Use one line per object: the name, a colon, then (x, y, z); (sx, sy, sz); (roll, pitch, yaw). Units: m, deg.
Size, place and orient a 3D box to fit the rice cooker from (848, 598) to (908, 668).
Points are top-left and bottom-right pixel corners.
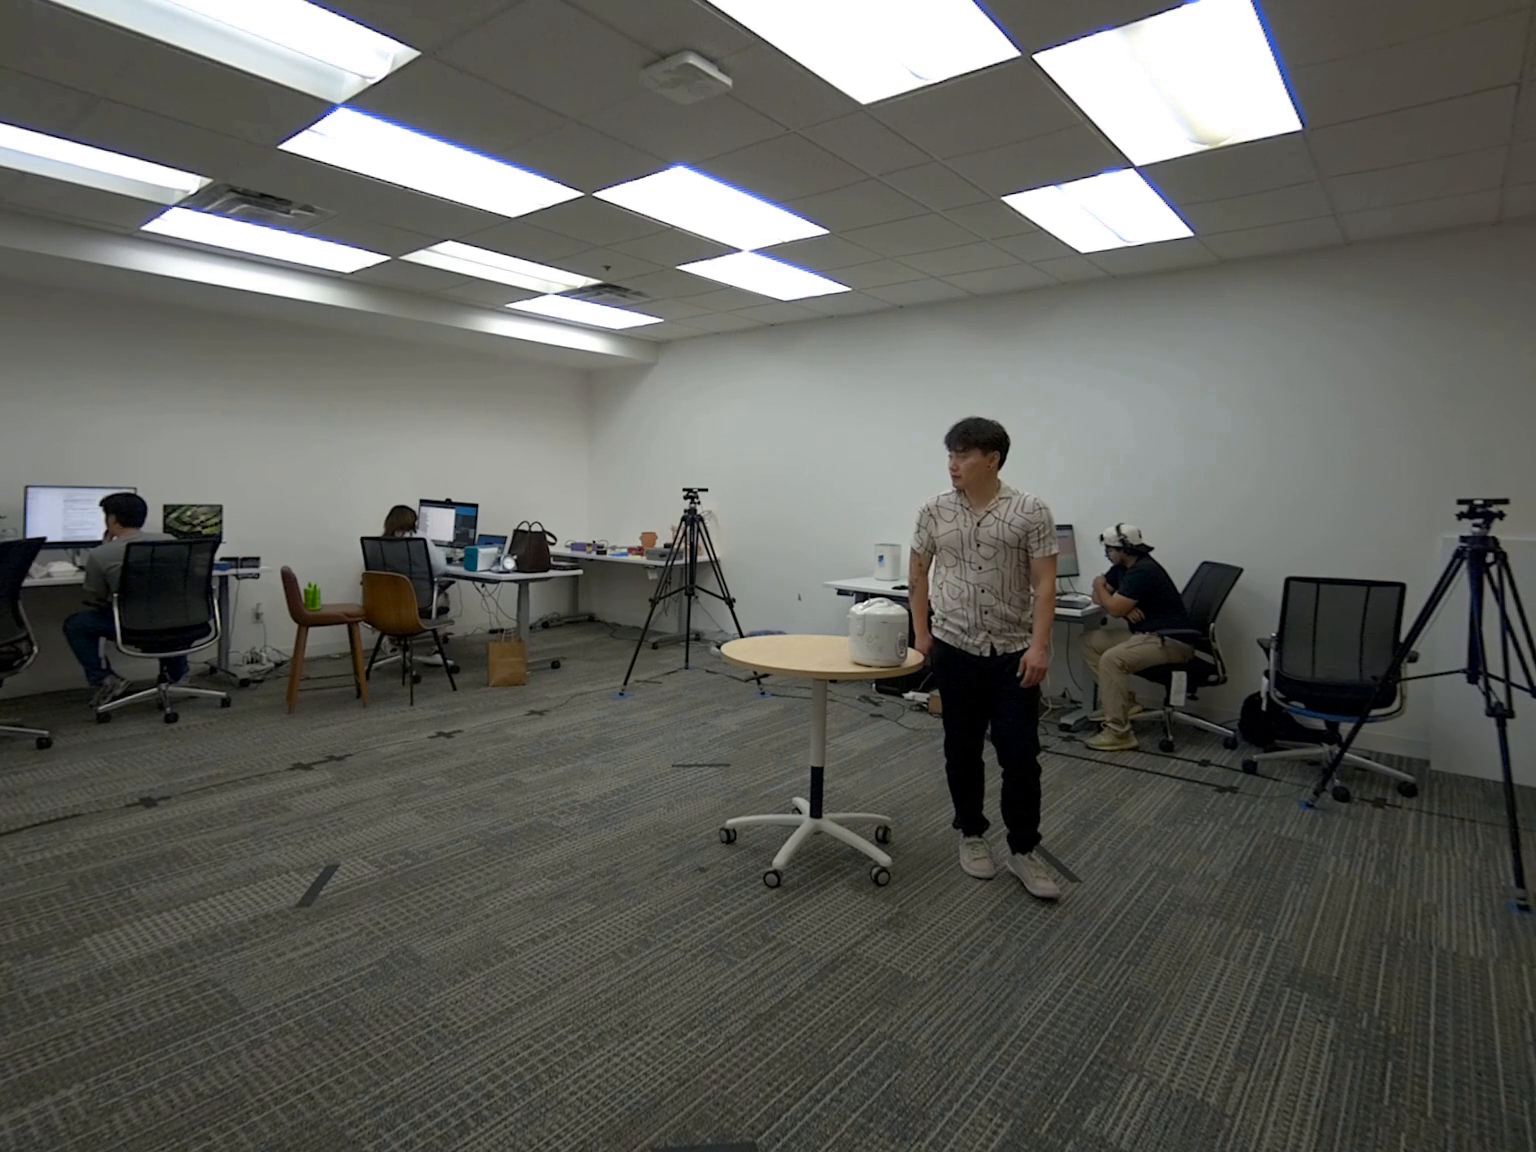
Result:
rice cooker: (0.390, 0.191, 3.026); (0.214, 0.232, 0.225); (-3, 5, -42)
